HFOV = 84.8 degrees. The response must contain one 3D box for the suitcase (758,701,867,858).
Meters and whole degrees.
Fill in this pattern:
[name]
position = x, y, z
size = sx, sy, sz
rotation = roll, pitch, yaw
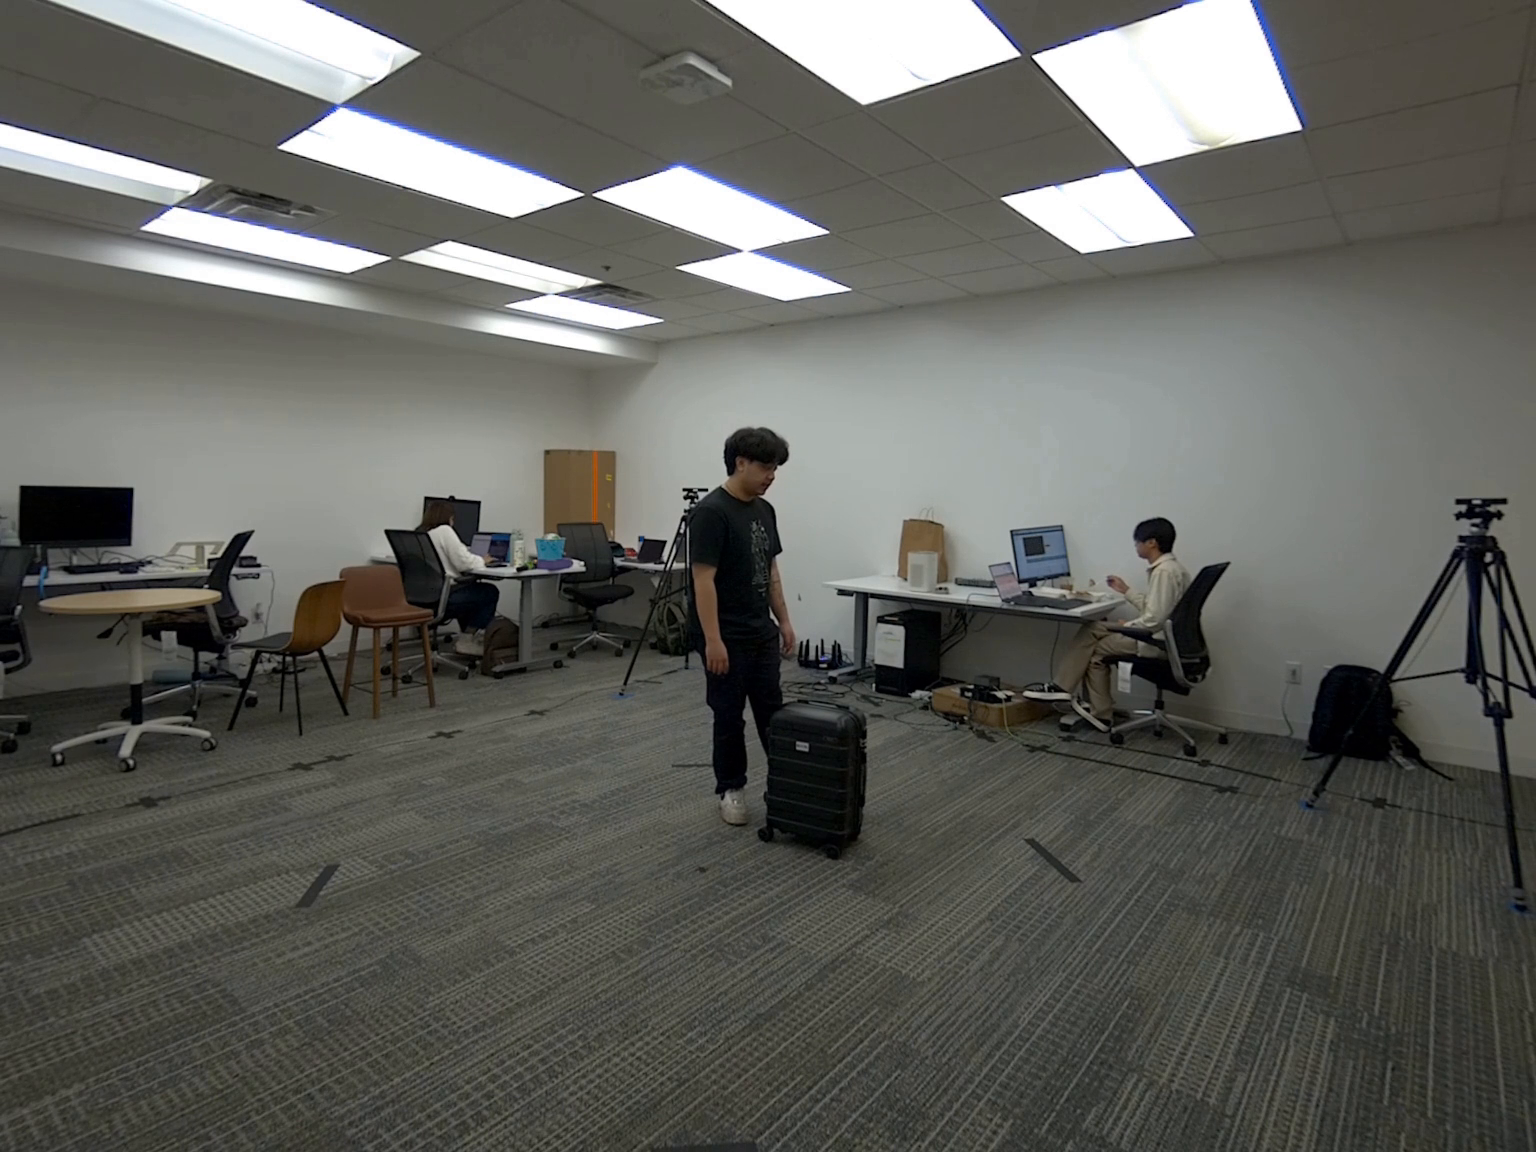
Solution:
[suitcase]
position = 0.188, 0.778, 3.374
size = 0.386, 0.547, 0.242
rotation = 5, 5, 27
